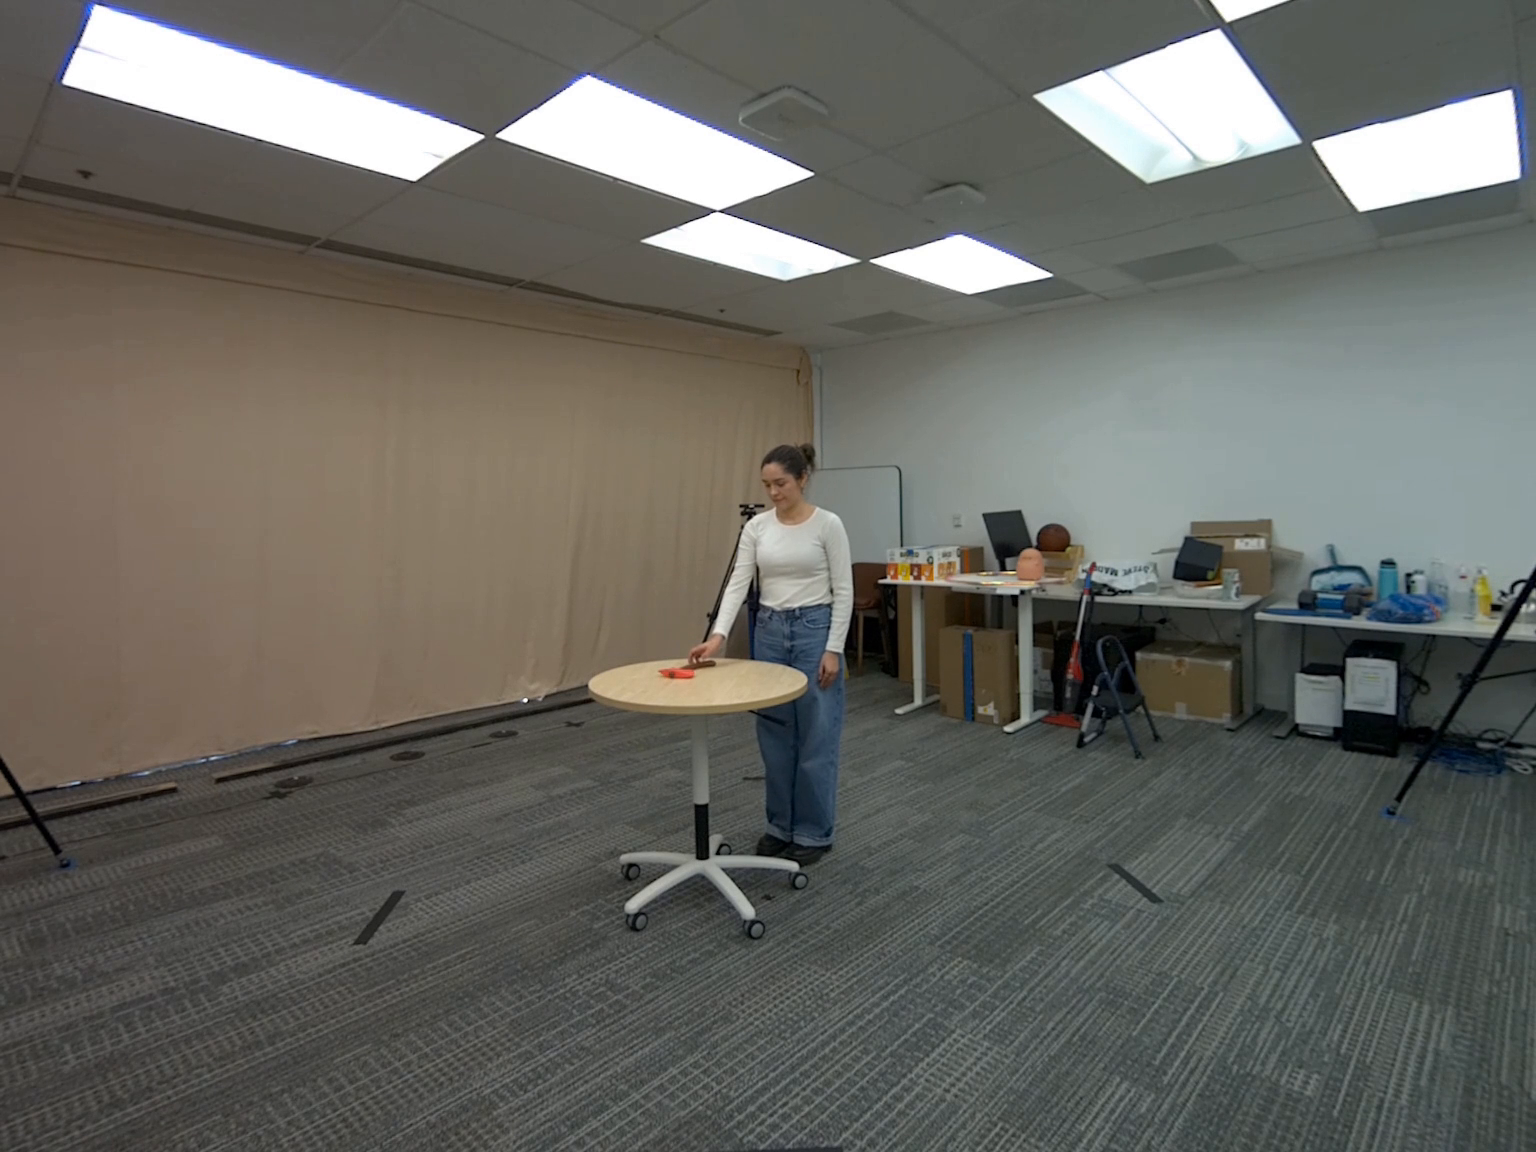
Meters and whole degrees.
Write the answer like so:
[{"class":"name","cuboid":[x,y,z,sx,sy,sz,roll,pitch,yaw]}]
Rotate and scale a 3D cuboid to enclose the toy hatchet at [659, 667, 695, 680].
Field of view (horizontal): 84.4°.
[{"class":"toy hatchet","cuboid":[-0.265,0.341,3.068,0.135,0.029,0.262,6,7,41]}]
